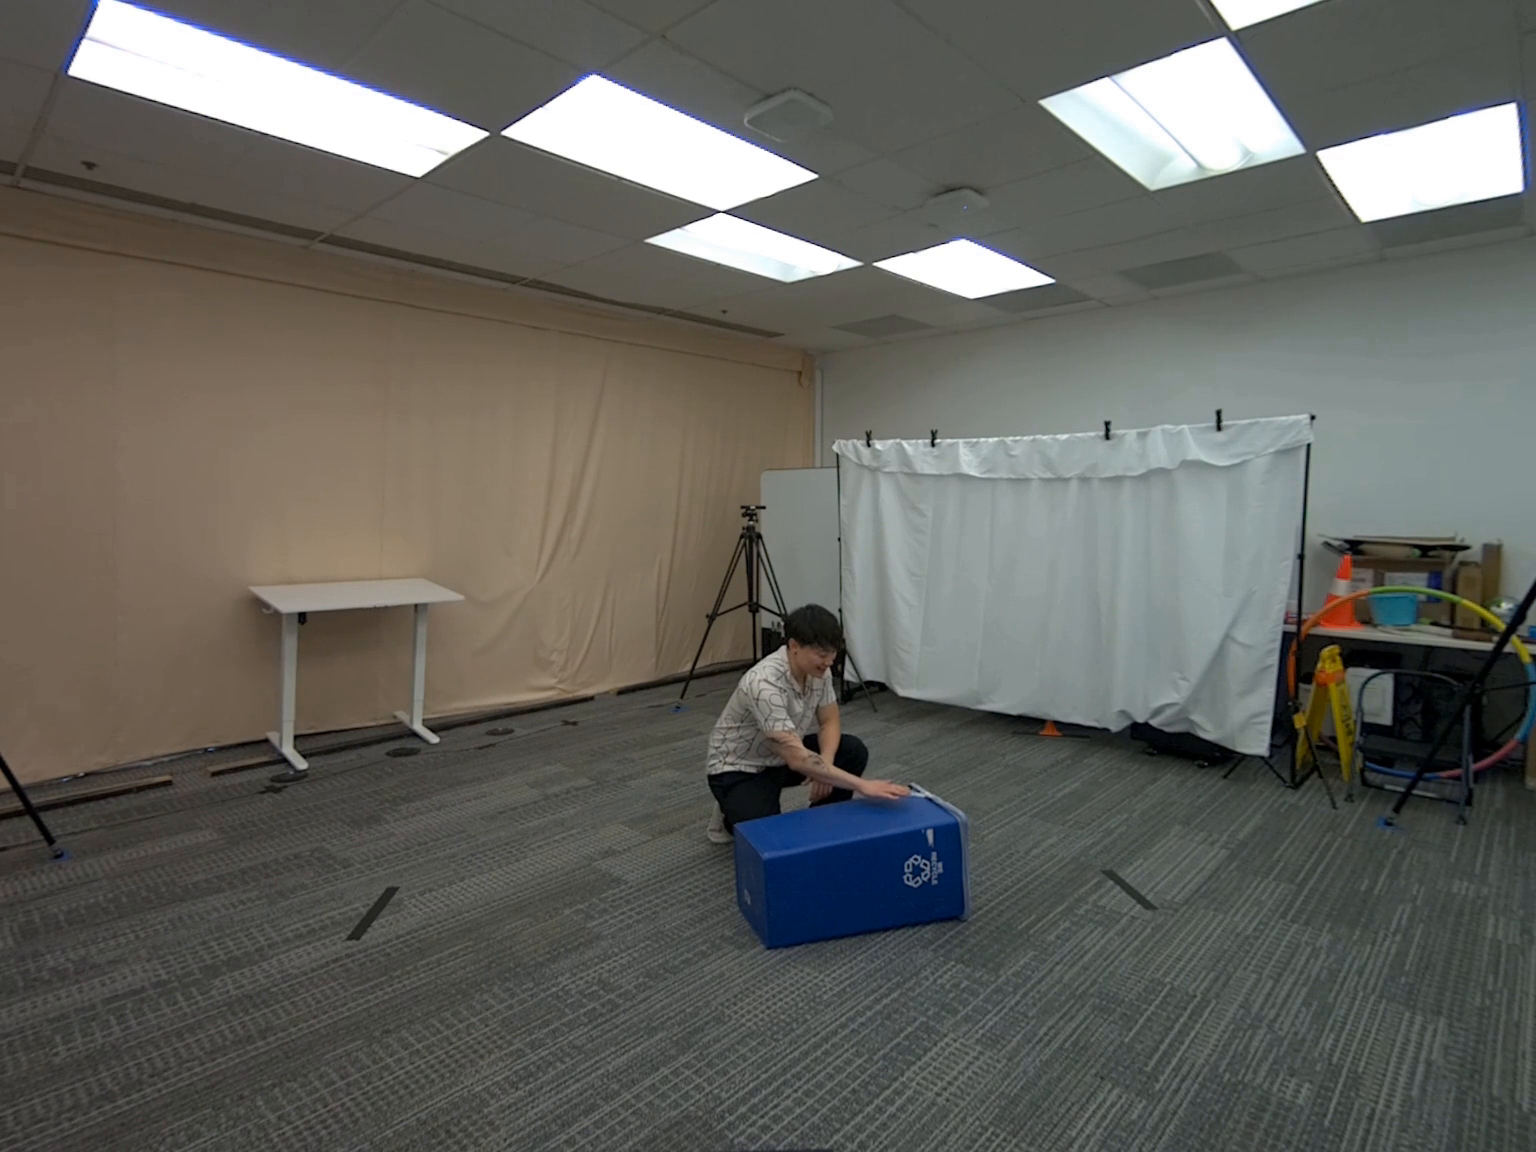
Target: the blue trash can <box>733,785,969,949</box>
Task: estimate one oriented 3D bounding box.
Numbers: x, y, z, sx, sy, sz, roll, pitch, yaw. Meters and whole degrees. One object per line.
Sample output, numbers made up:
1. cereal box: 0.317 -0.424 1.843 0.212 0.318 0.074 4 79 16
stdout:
1. blue trash can: 0.276 0.982 2.868 0.702 0.373 0.385 -5 4 -17
